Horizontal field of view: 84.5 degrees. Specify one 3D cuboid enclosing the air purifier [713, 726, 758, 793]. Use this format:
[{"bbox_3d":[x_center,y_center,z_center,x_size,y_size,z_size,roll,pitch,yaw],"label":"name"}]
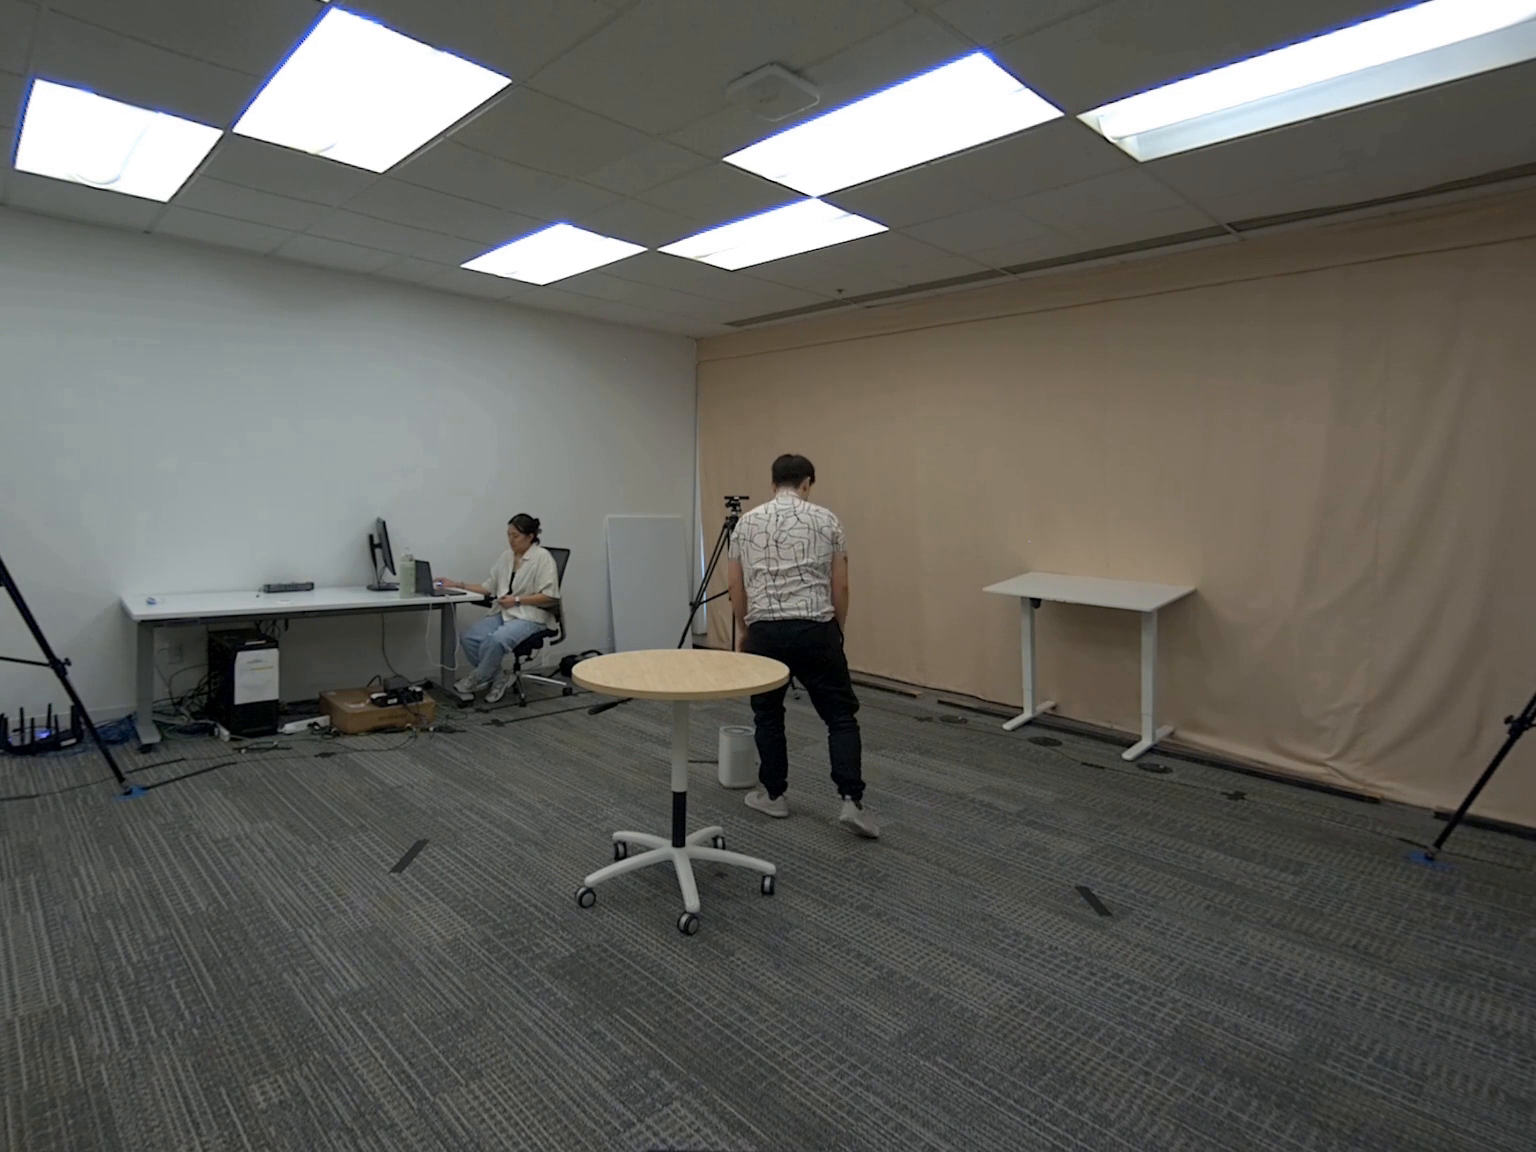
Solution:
[{"bbox_3d":[-0.161,0.887,4.110,0.169,0.265,0.173,1,3,-17],"label":"air purifier"}]
